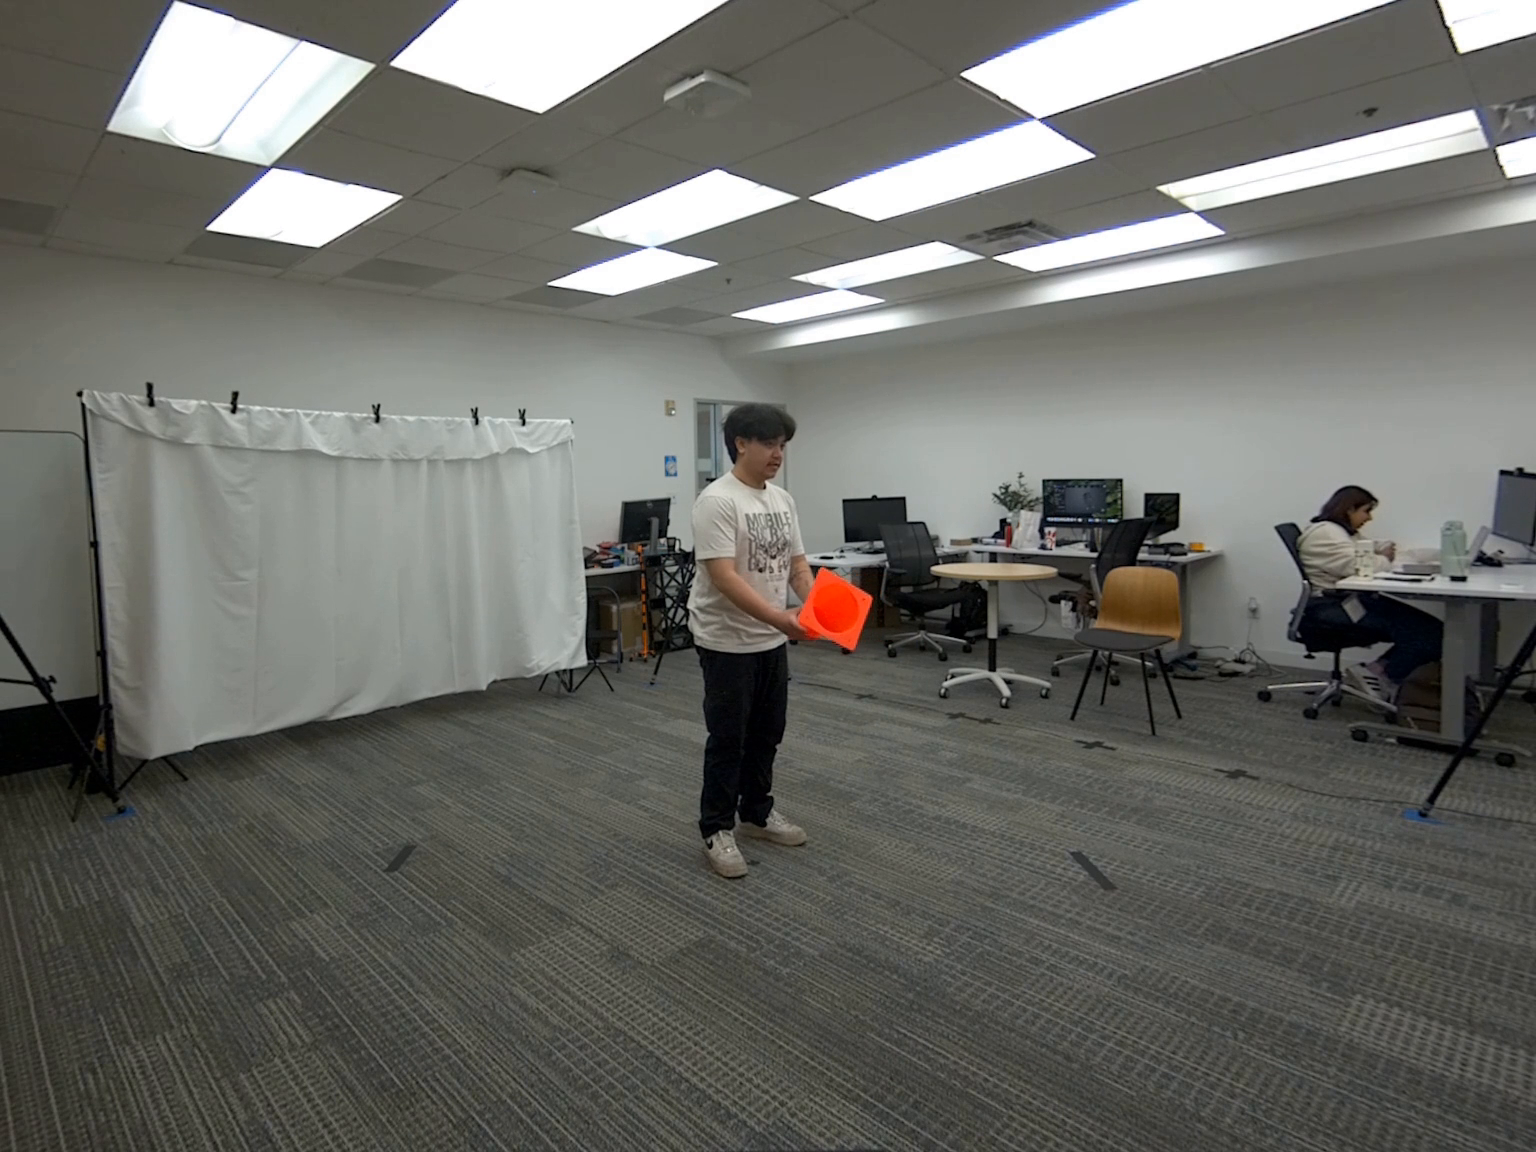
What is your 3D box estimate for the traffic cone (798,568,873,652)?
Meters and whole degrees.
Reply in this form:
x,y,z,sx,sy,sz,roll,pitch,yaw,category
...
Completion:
x,y,z,sx,sy,sz,roll,pitch,yaw,category
0.157,0.161,2.790,0.204,0.204,0.383,33,-25,-5,traffic cone
